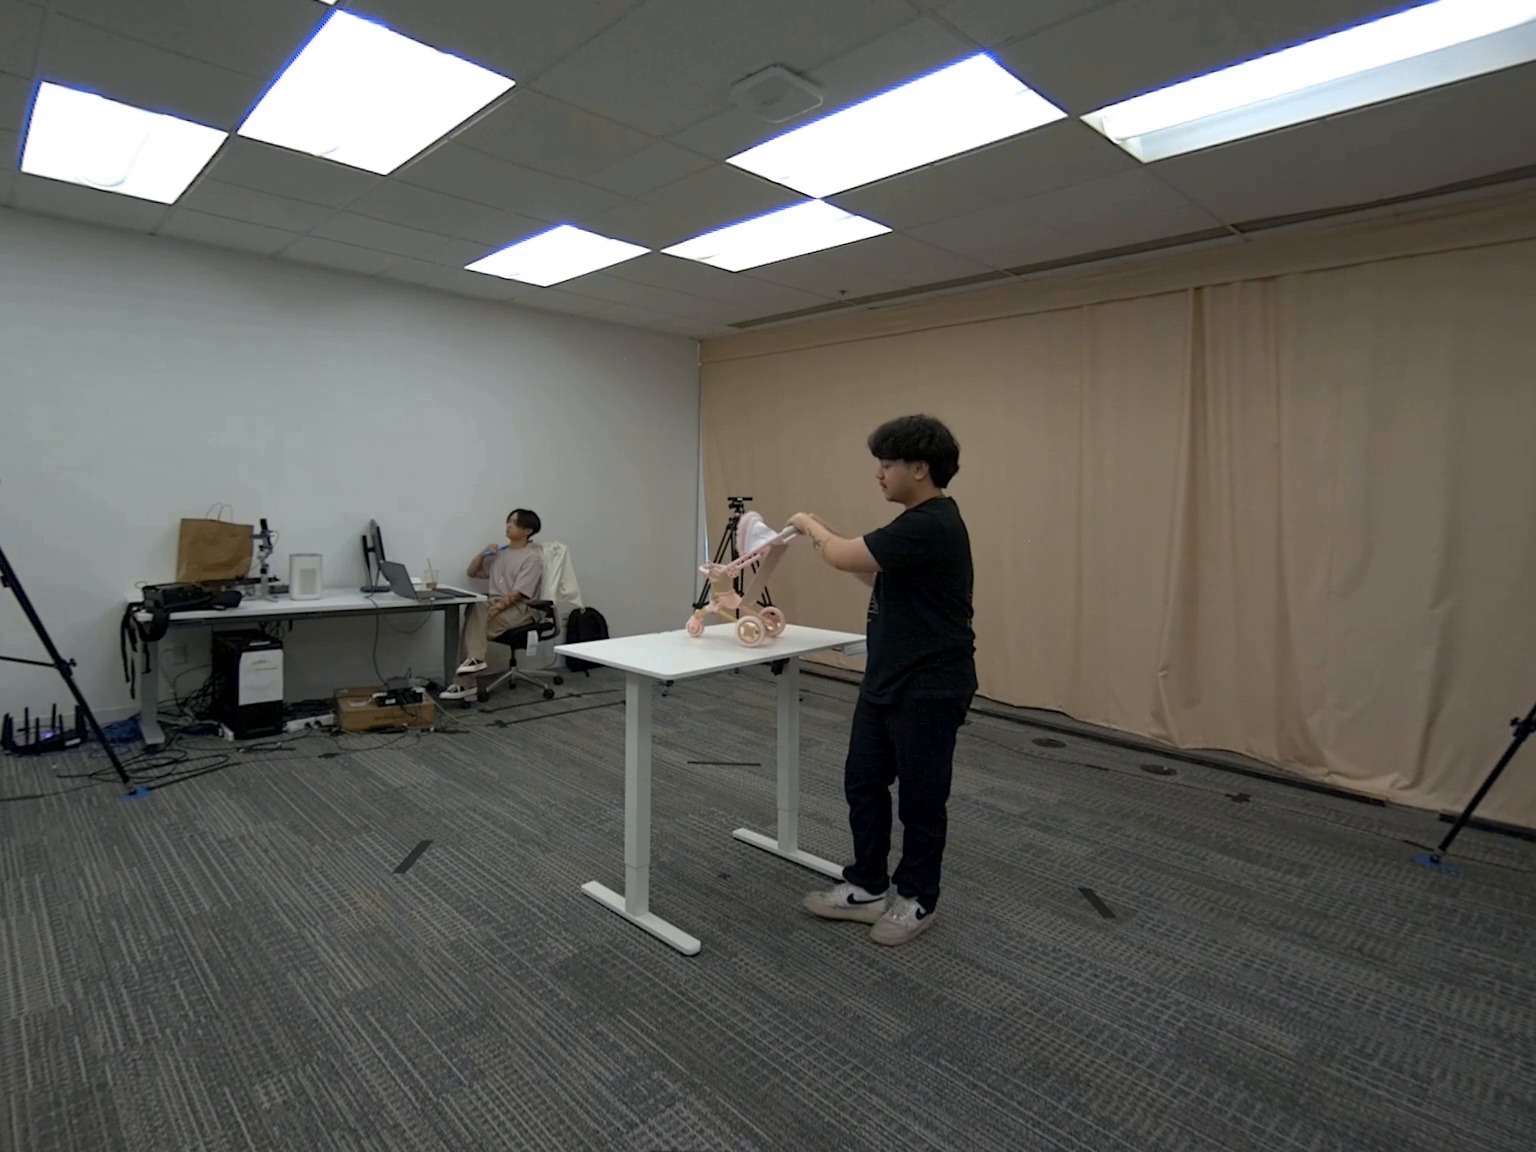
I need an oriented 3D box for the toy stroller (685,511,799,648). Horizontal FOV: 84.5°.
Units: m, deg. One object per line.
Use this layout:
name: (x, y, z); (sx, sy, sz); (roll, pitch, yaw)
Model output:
toy stroller: (-0.090, 0.012, 3.005); (0.348, 0.532, 0.277); (19, 10, 21)
